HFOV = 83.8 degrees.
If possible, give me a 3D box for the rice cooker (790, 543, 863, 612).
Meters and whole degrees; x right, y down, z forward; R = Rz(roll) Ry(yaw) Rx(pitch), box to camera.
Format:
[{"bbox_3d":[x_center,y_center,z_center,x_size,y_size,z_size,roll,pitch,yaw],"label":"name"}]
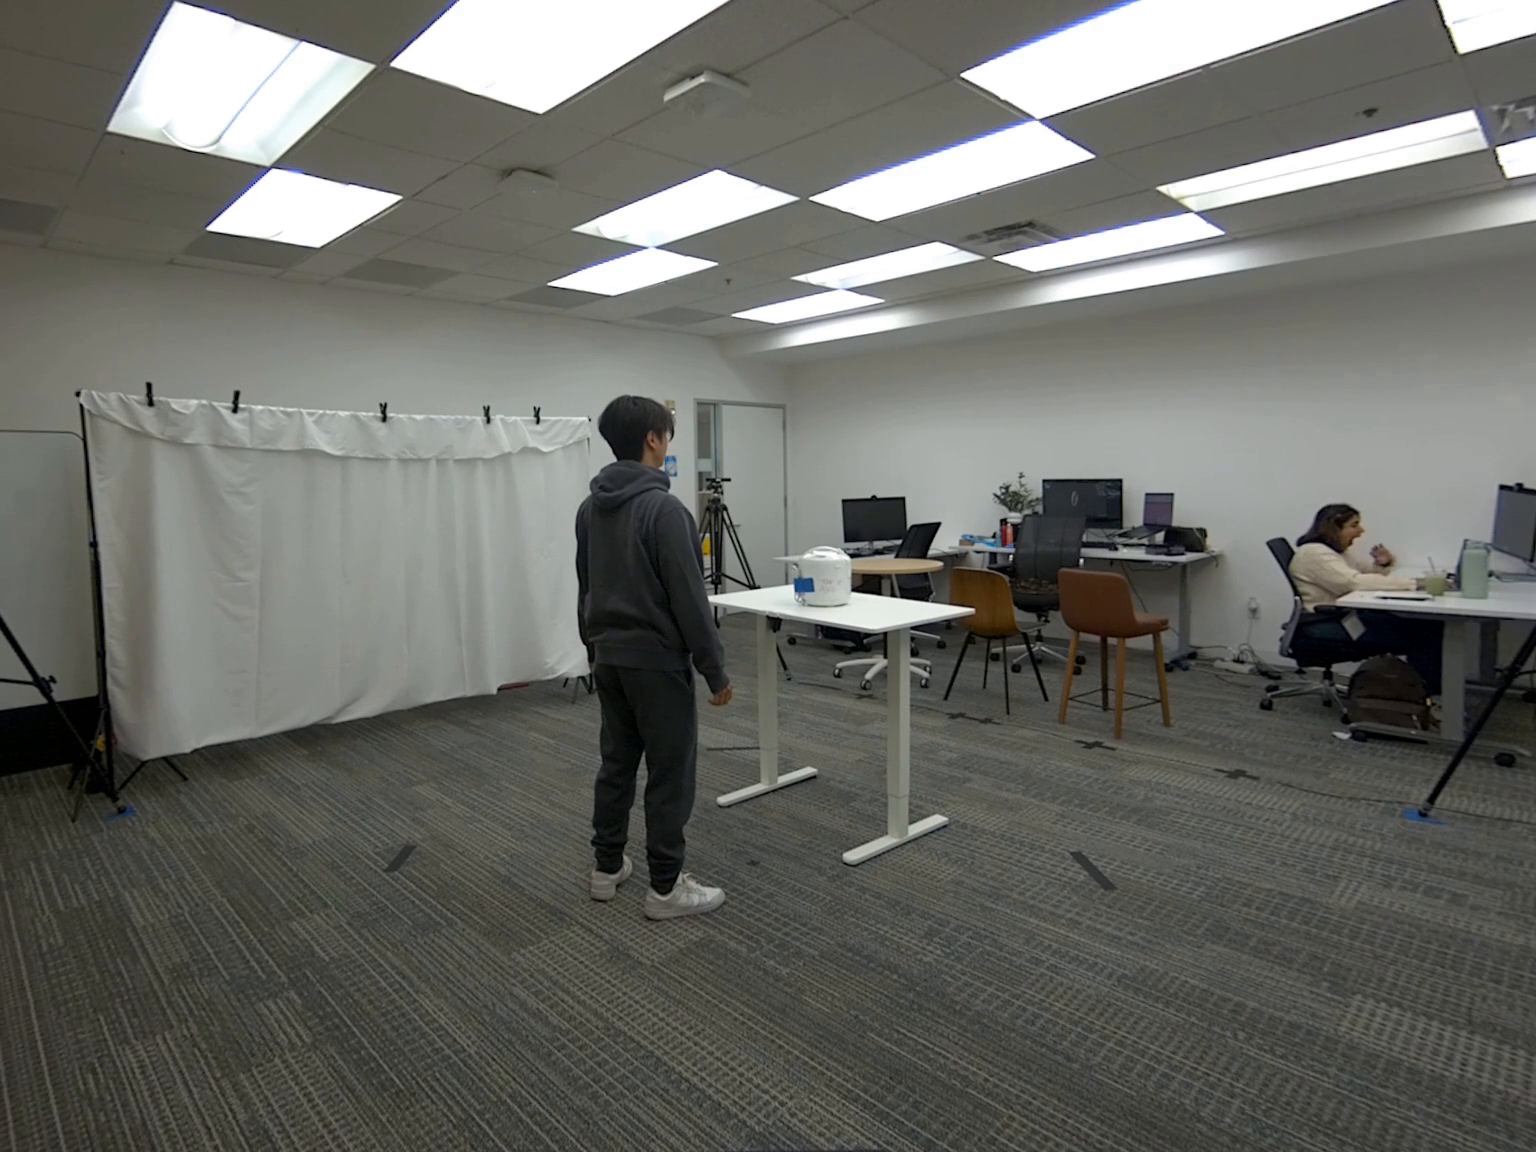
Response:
[{"bbox_3d":[0.236,-0.002,3.462,0.226,0.231,0.213,3,8,28],"label":"rice cooker"}]
